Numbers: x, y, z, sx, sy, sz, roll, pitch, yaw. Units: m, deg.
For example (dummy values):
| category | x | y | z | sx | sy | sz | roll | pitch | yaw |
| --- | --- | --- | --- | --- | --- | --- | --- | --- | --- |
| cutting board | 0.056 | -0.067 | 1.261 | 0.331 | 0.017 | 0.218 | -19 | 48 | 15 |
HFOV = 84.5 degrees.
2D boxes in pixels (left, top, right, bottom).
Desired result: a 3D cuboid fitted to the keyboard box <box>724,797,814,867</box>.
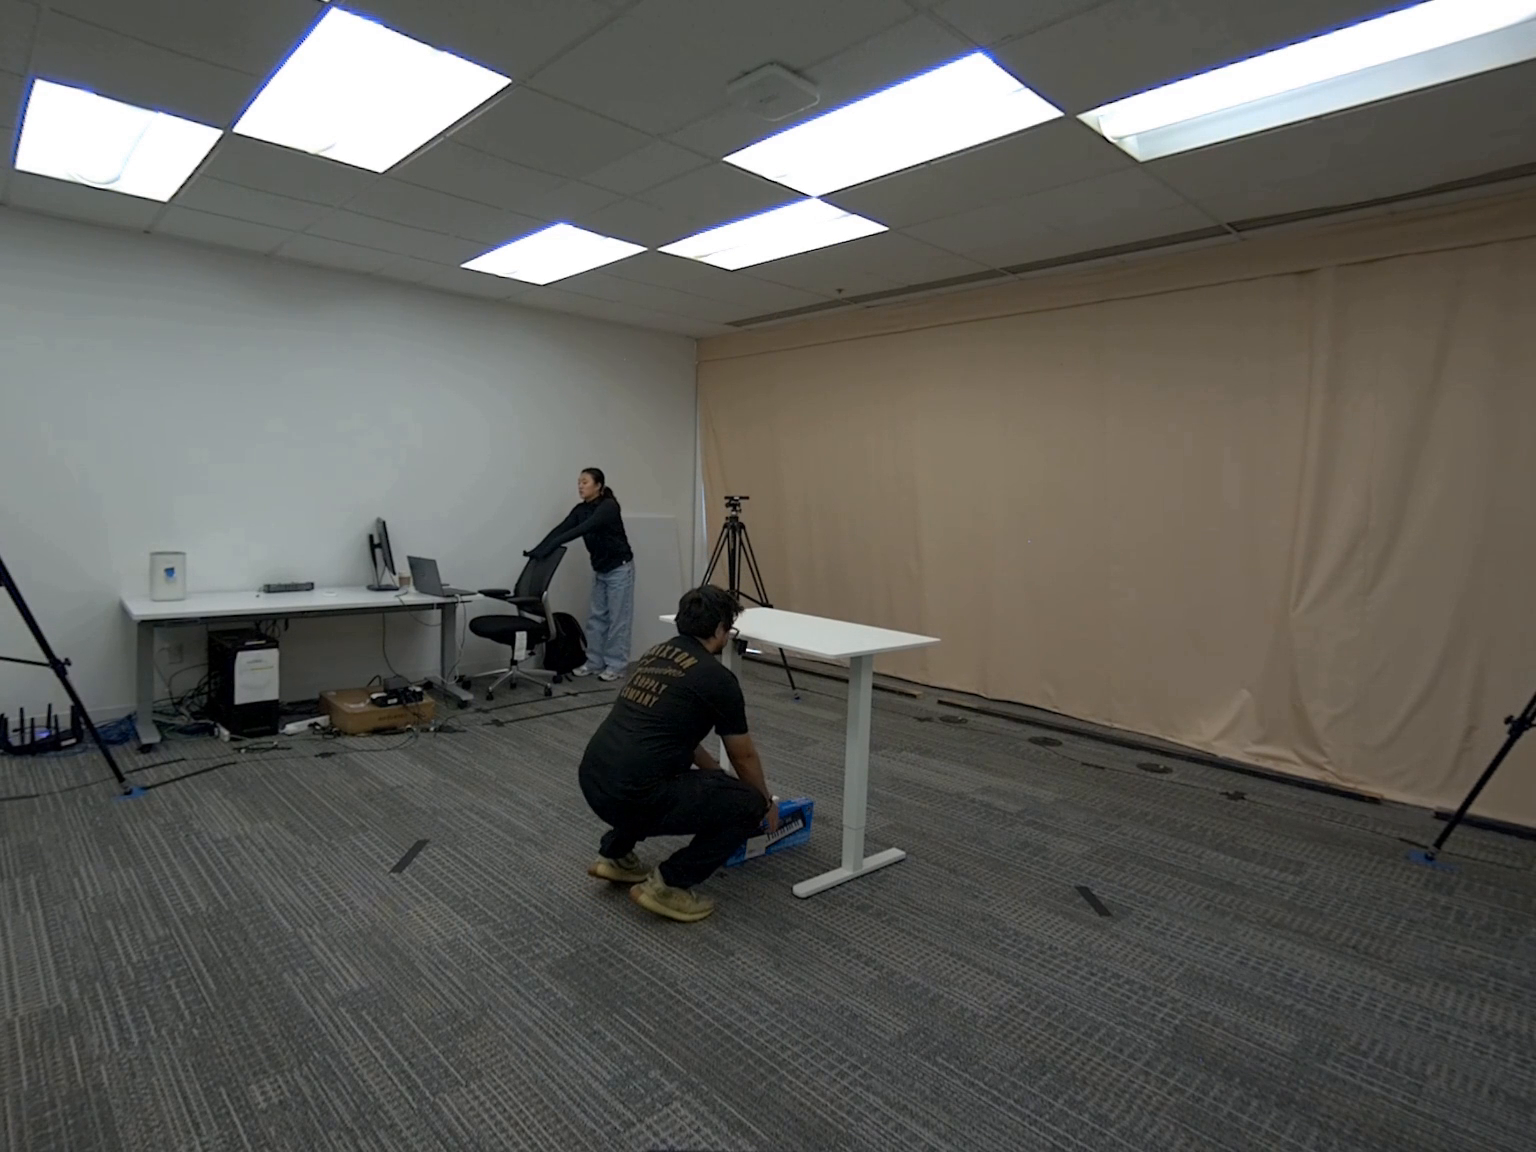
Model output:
| category | x | y | z | sx | sy | sz | roll | pitch | yaw |
| --- | --- | --- | --- | --- | --- | --- | --- | --- | --- |
| keyboard box | -0.016 | 1.003 | 3.313 | 0.427 | 0.175 | 0.061 | -3 | 12 | -39 |
